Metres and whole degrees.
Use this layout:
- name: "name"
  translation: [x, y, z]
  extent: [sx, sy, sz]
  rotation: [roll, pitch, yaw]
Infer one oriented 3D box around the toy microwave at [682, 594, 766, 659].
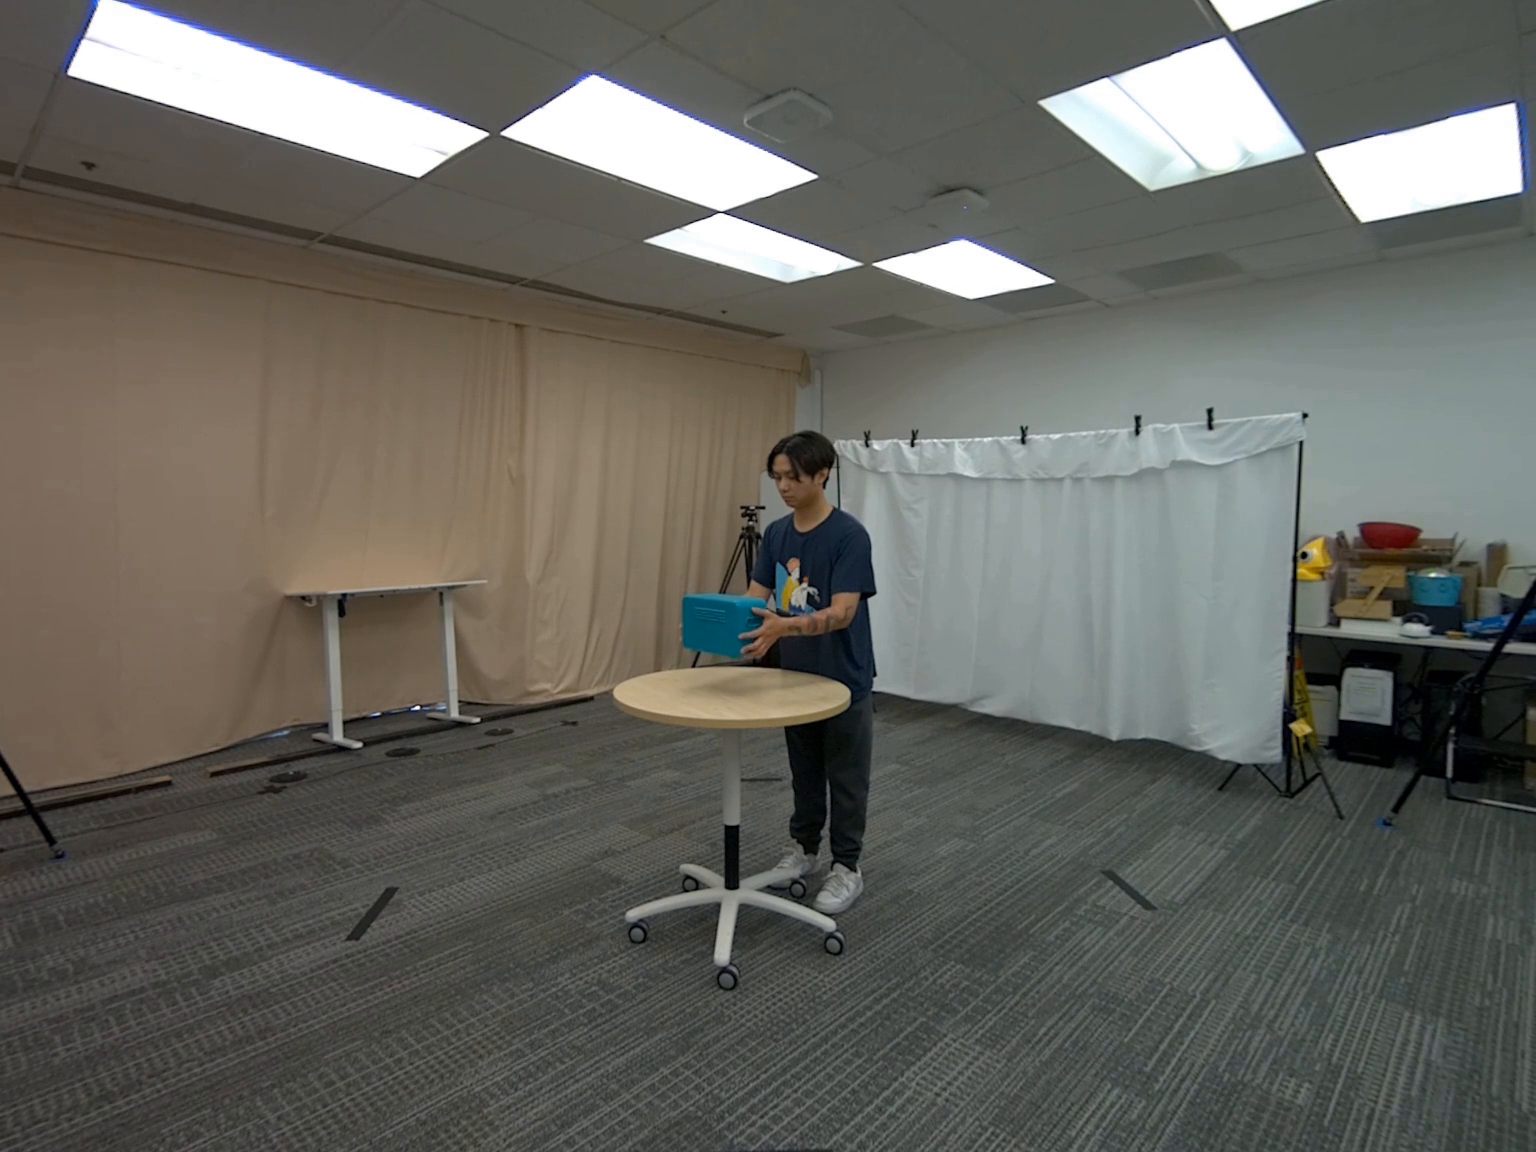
- name: "toy microwave"
  translation: [-0.130, 0.160, 2.699]
  extent: [0.147, 0.184, 0.296]
  rotation: [-2, 5, -42]
